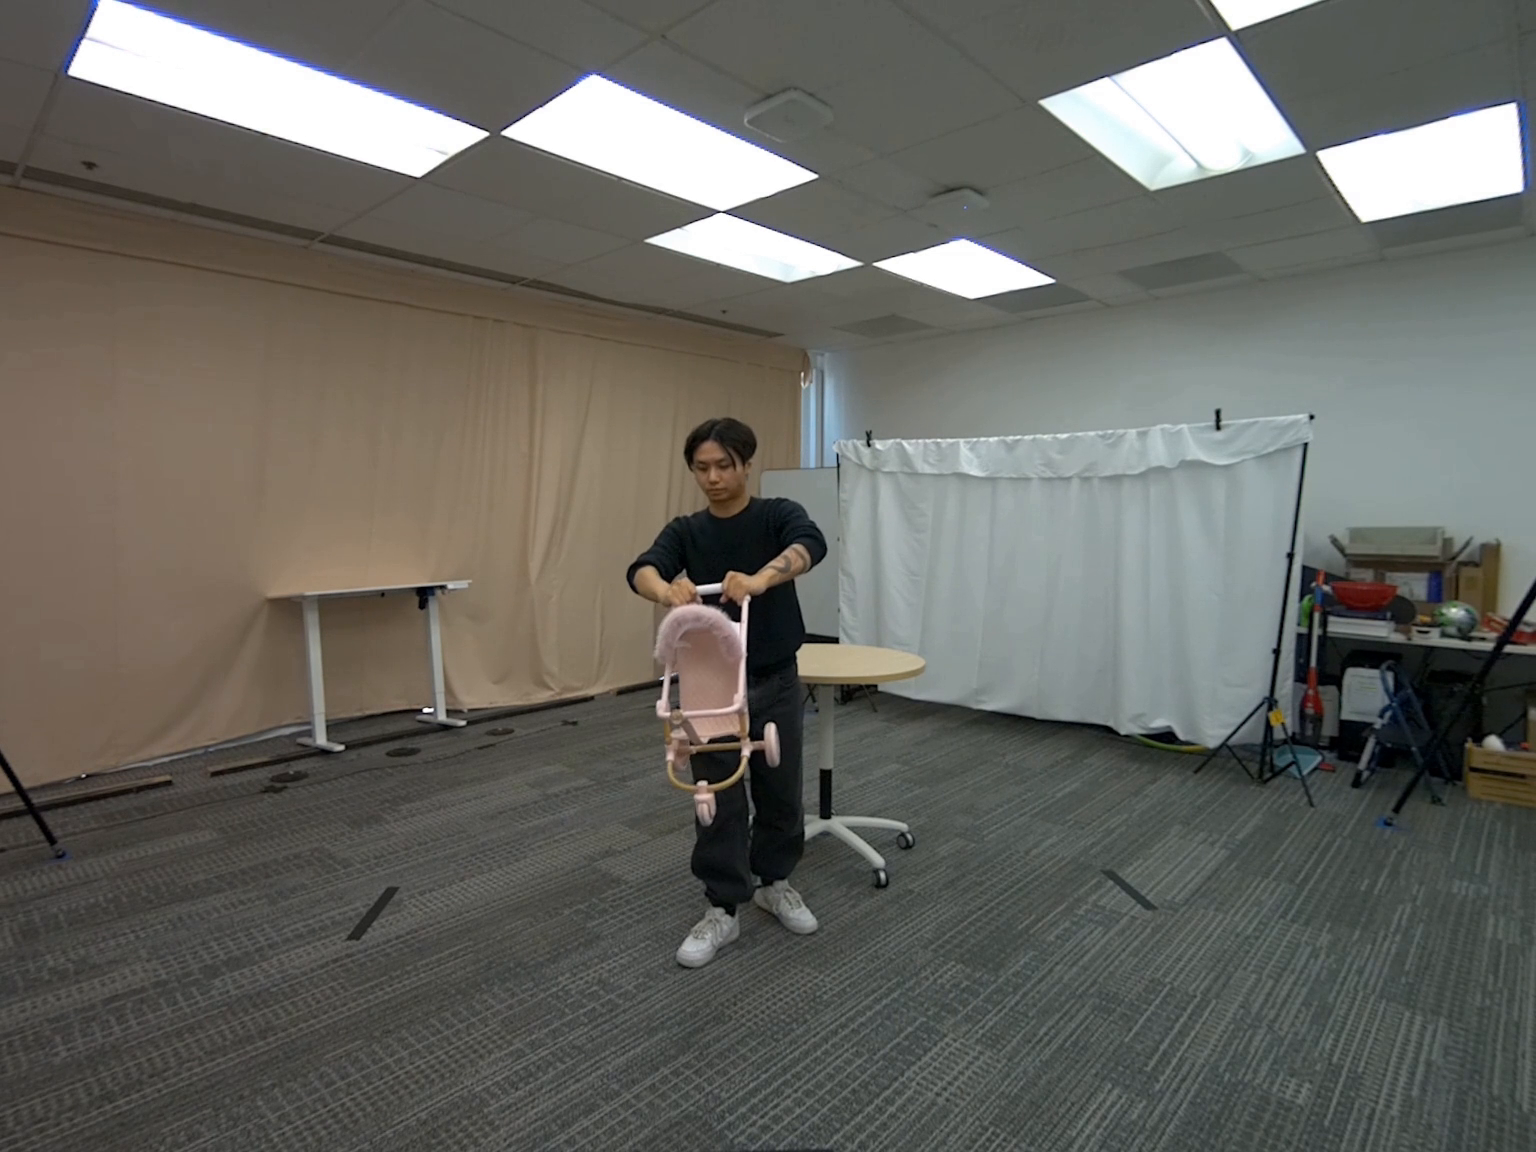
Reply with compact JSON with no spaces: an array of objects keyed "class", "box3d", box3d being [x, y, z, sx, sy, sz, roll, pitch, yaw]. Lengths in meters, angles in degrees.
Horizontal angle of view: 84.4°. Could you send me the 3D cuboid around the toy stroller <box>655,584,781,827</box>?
[{"class":"toy stroller","box3d":[-0.144,0.298,2.061,0.286,0.534,0.336,-5,2,15]}]
